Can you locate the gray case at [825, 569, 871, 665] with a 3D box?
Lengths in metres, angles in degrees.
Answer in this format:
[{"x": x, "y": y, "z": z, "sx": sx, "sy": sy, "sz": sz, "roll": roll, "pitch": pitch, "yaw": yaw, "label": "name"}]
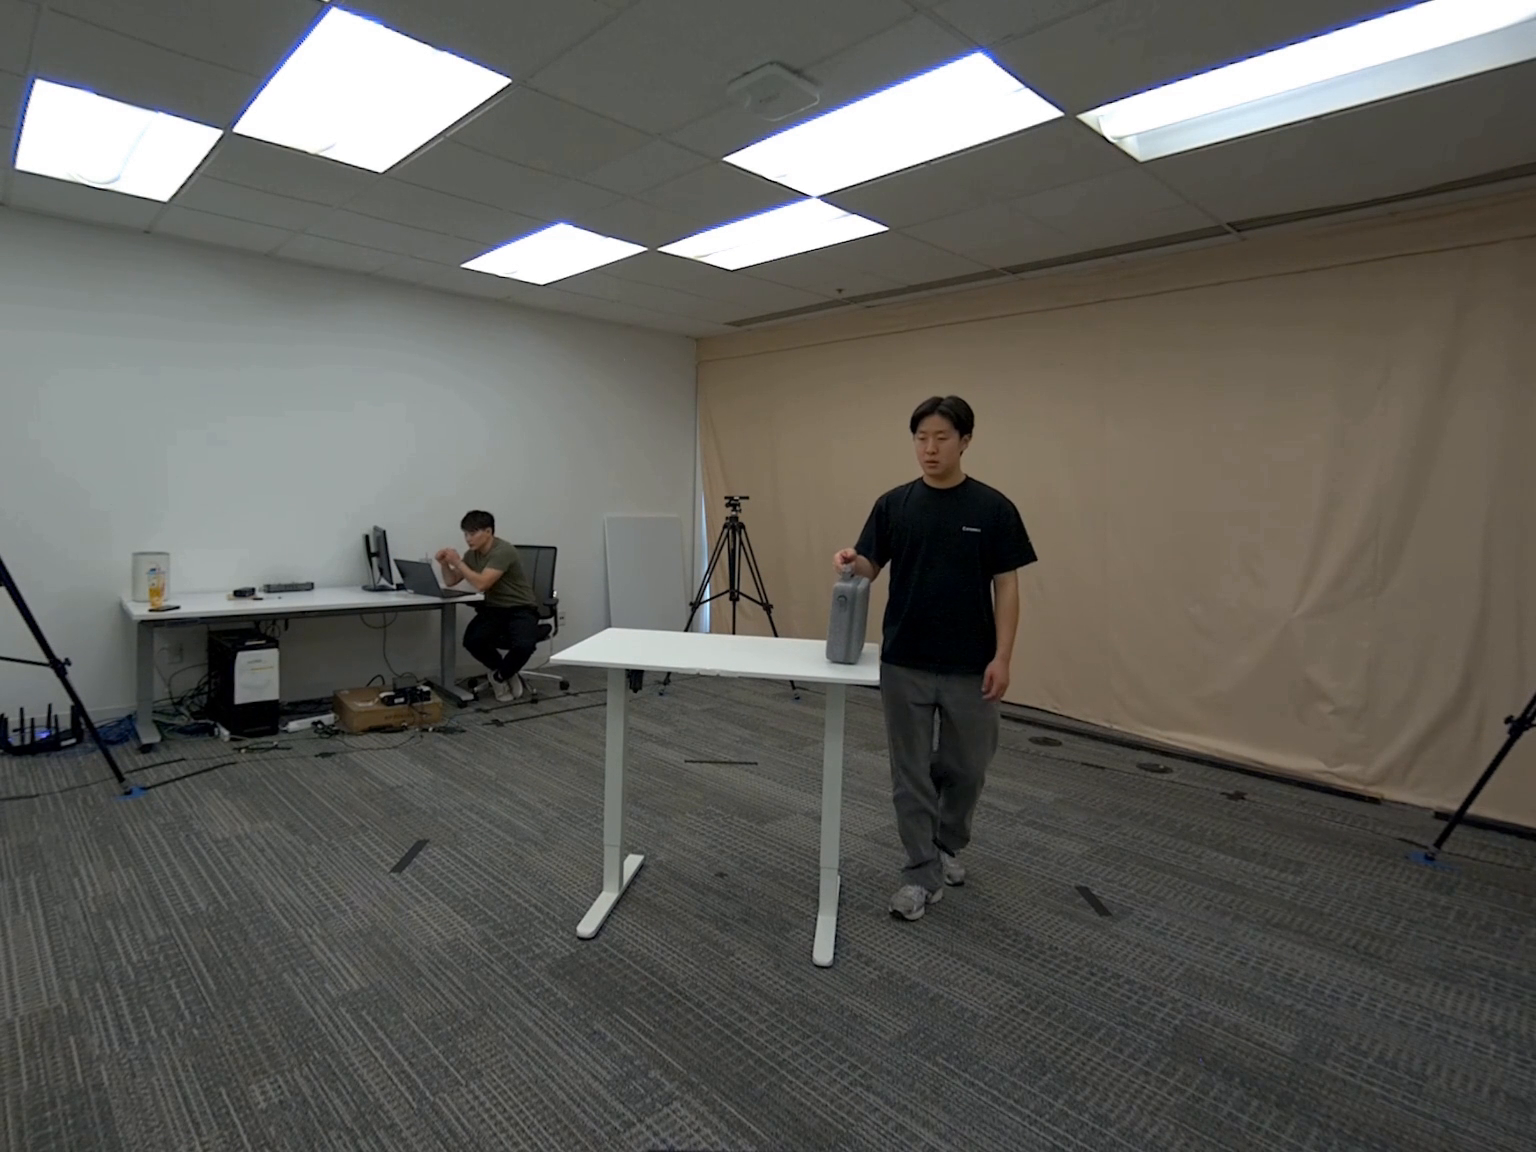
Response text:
[{"x": 0.256, "y": 0.126, "z": 2.715, "sx": 0.104, "sy": 0.286, "sz": 0.261, "roll": 4, "pitch": 7, "yaw": 15, "label": "gray case"}]
